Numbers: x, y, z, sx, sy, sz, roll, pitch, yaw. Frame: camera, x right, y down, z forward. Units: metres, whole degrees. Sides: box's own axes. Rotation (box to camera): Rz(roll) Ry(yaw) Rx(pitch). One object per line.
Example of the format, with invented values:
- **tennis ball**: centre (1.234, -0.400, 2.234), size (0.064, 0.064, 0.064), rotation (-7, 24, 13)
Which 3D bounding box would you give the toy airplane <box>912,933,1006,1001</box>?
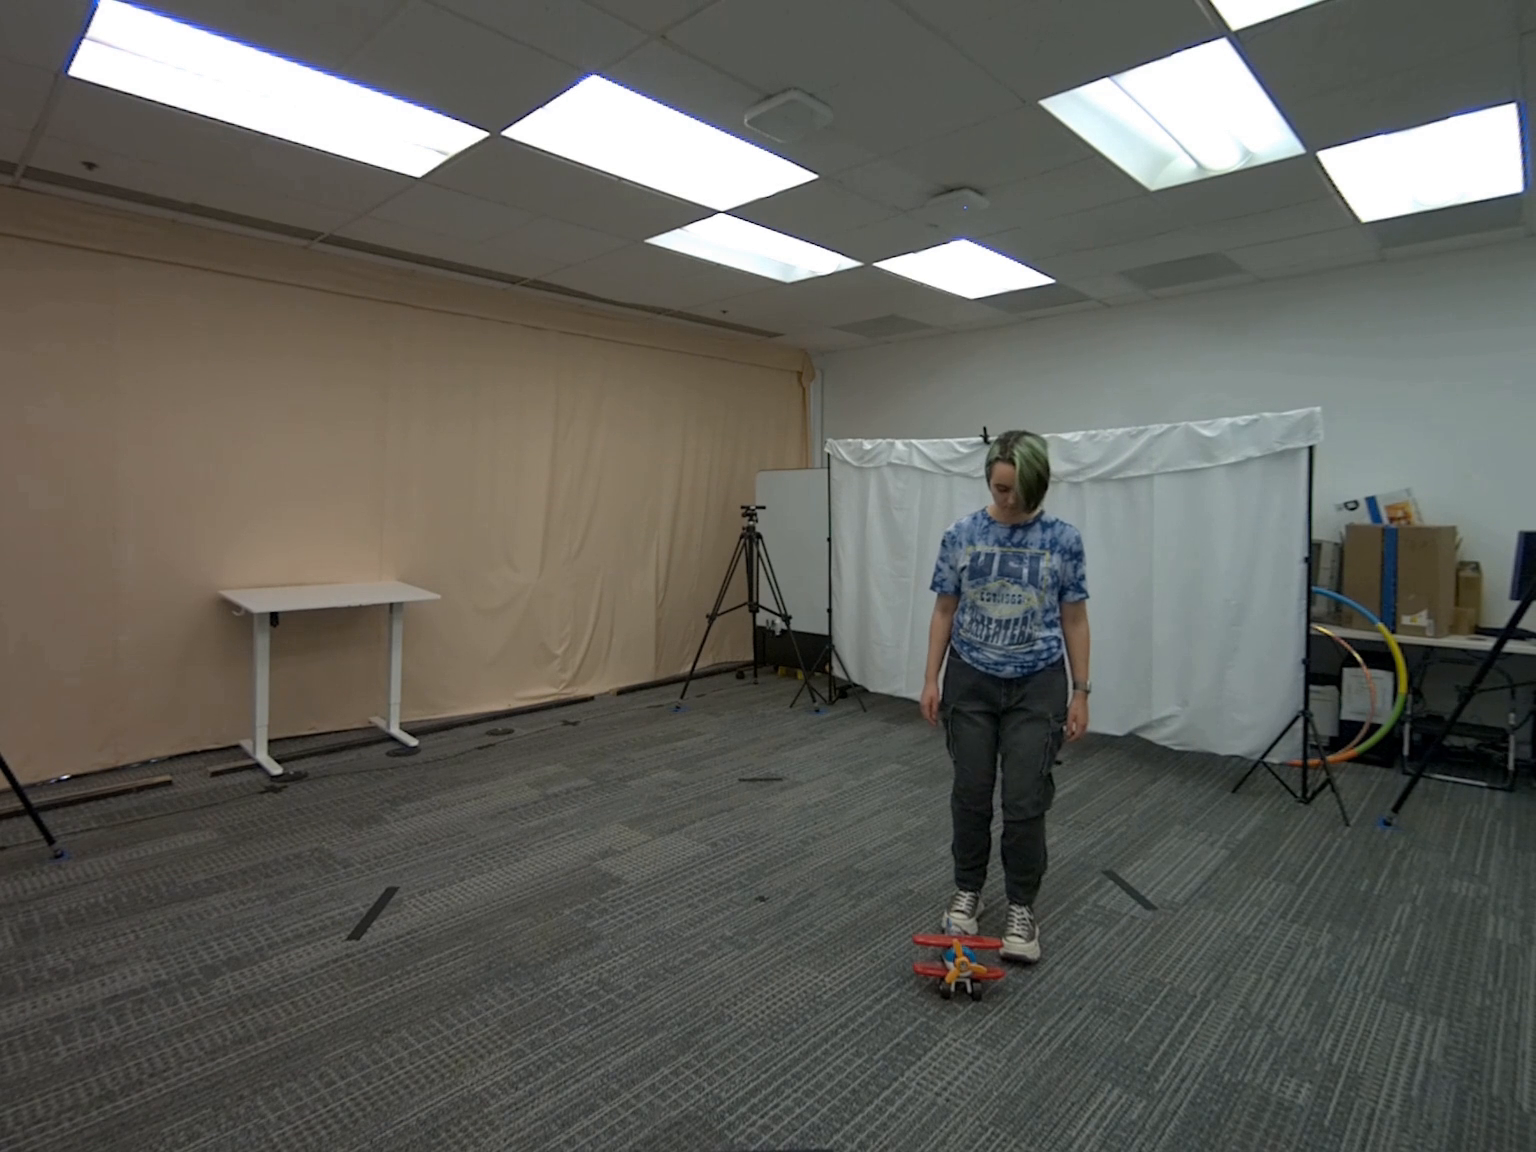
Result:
- **toy airplane**: centre (0.540, 1.116, 2.458), size (0.245, 0.156, 0.266), rotation (-2, 6, -25)
